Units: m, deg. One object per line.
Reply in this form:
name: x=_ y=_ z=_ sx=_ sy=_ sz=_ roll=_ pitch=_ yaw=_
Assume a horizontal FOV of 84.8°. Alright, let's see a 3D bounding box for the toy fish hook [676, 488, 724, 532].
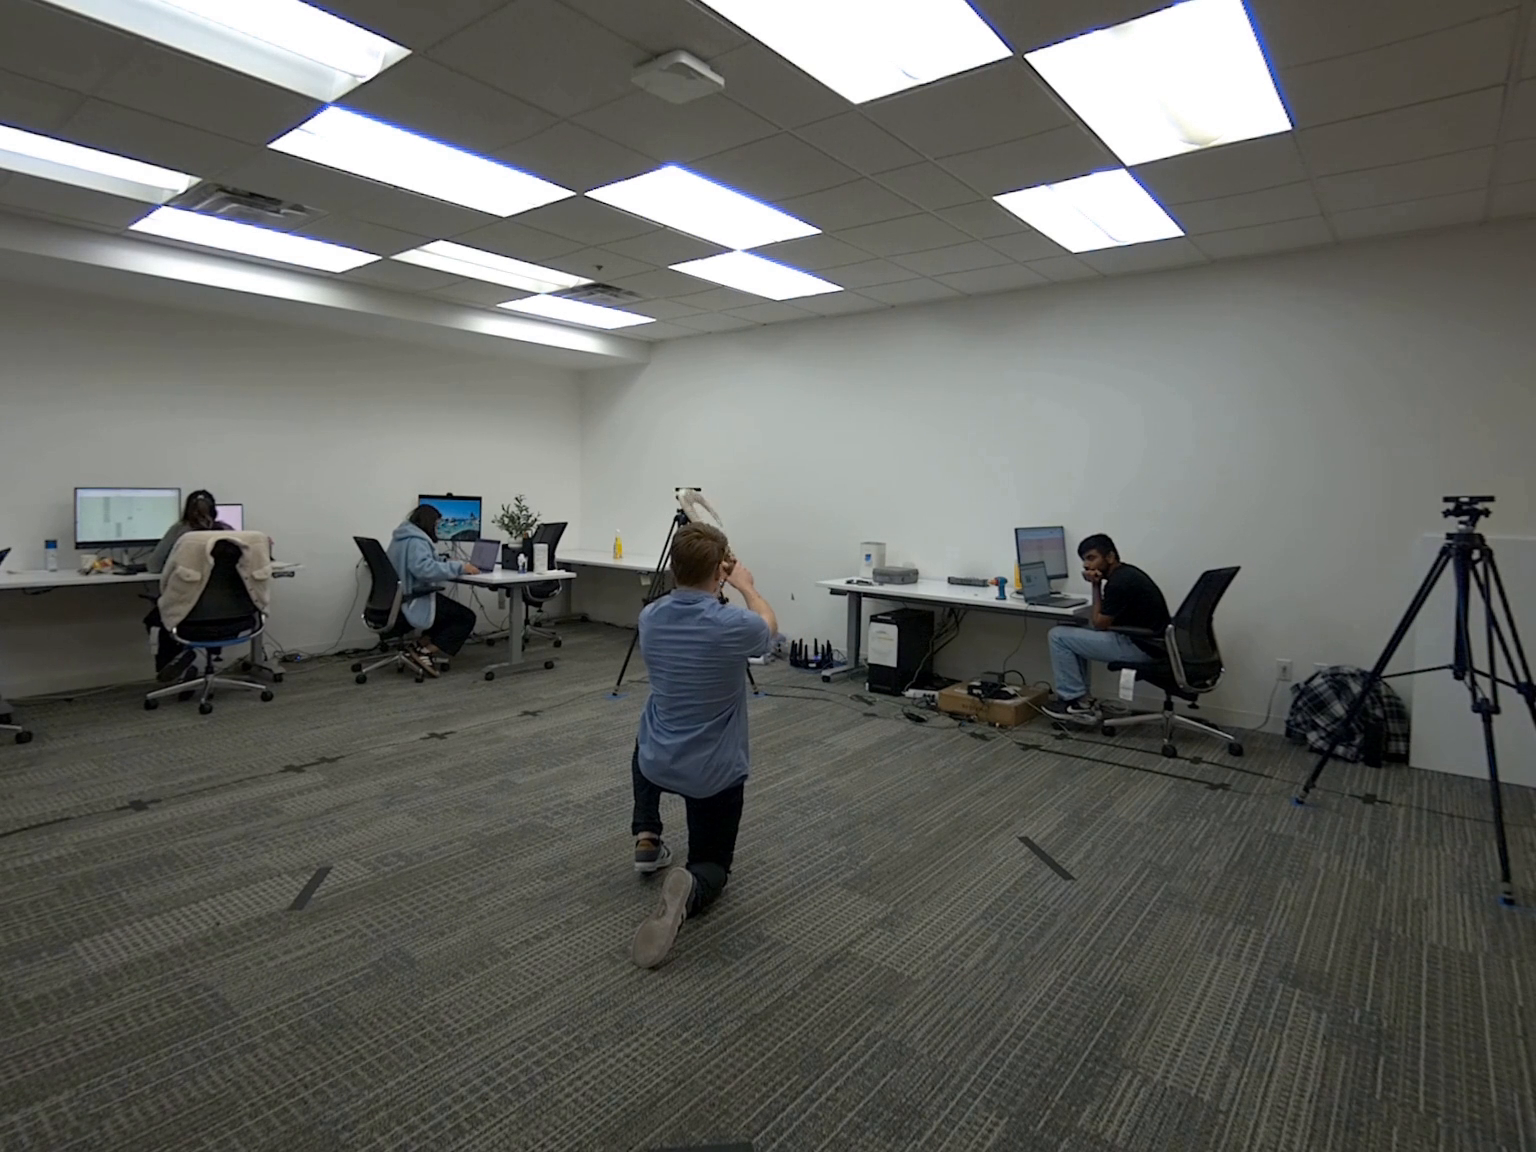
toy fish hook: x=-0.202 y=-0.130 z=3.430 sx=0.048 sy=0.521 sz=0.217 roll=-40 pitch=-24 yaw=25
